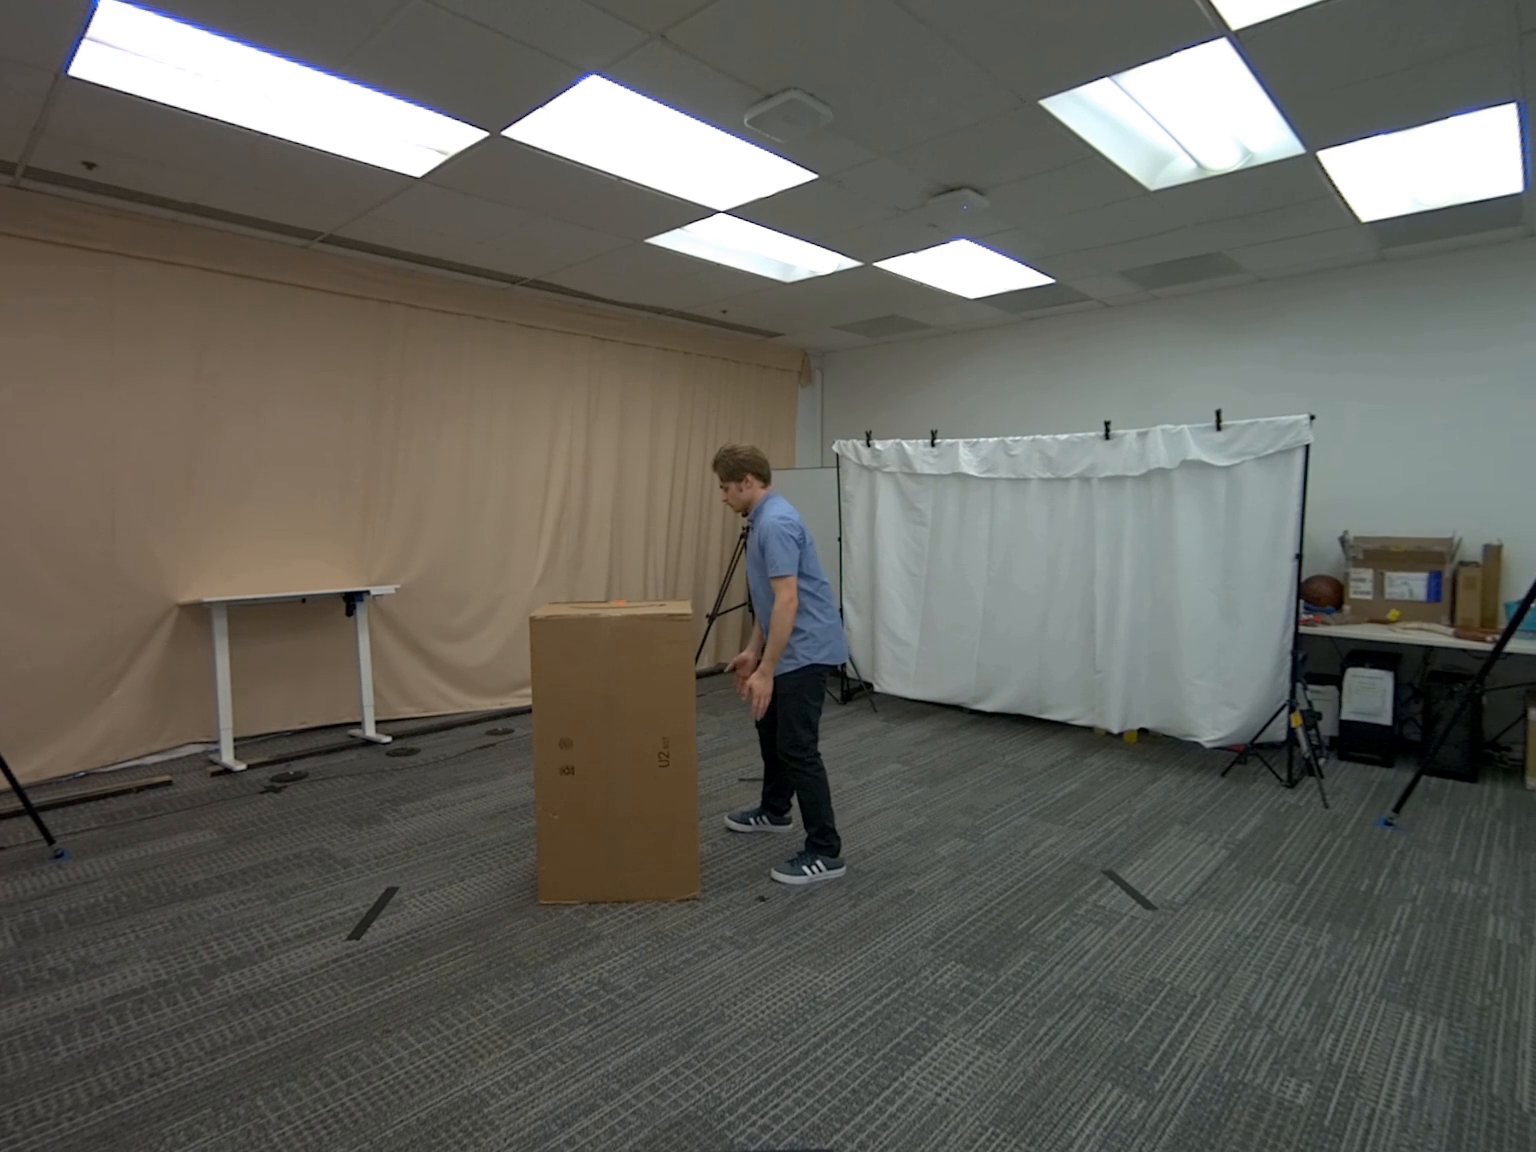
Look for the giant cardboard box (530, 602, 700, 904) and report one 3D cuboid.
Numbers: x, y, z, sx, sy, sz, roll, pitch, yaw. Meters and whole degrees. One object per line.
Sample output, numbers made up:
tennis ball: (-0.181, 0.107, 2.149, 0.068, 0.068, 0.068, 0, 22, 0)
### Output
giant cardboard box: (-0.561, 0.626, 3.154, 0.576, 1.024, 0.428, -2, 3, -3)
